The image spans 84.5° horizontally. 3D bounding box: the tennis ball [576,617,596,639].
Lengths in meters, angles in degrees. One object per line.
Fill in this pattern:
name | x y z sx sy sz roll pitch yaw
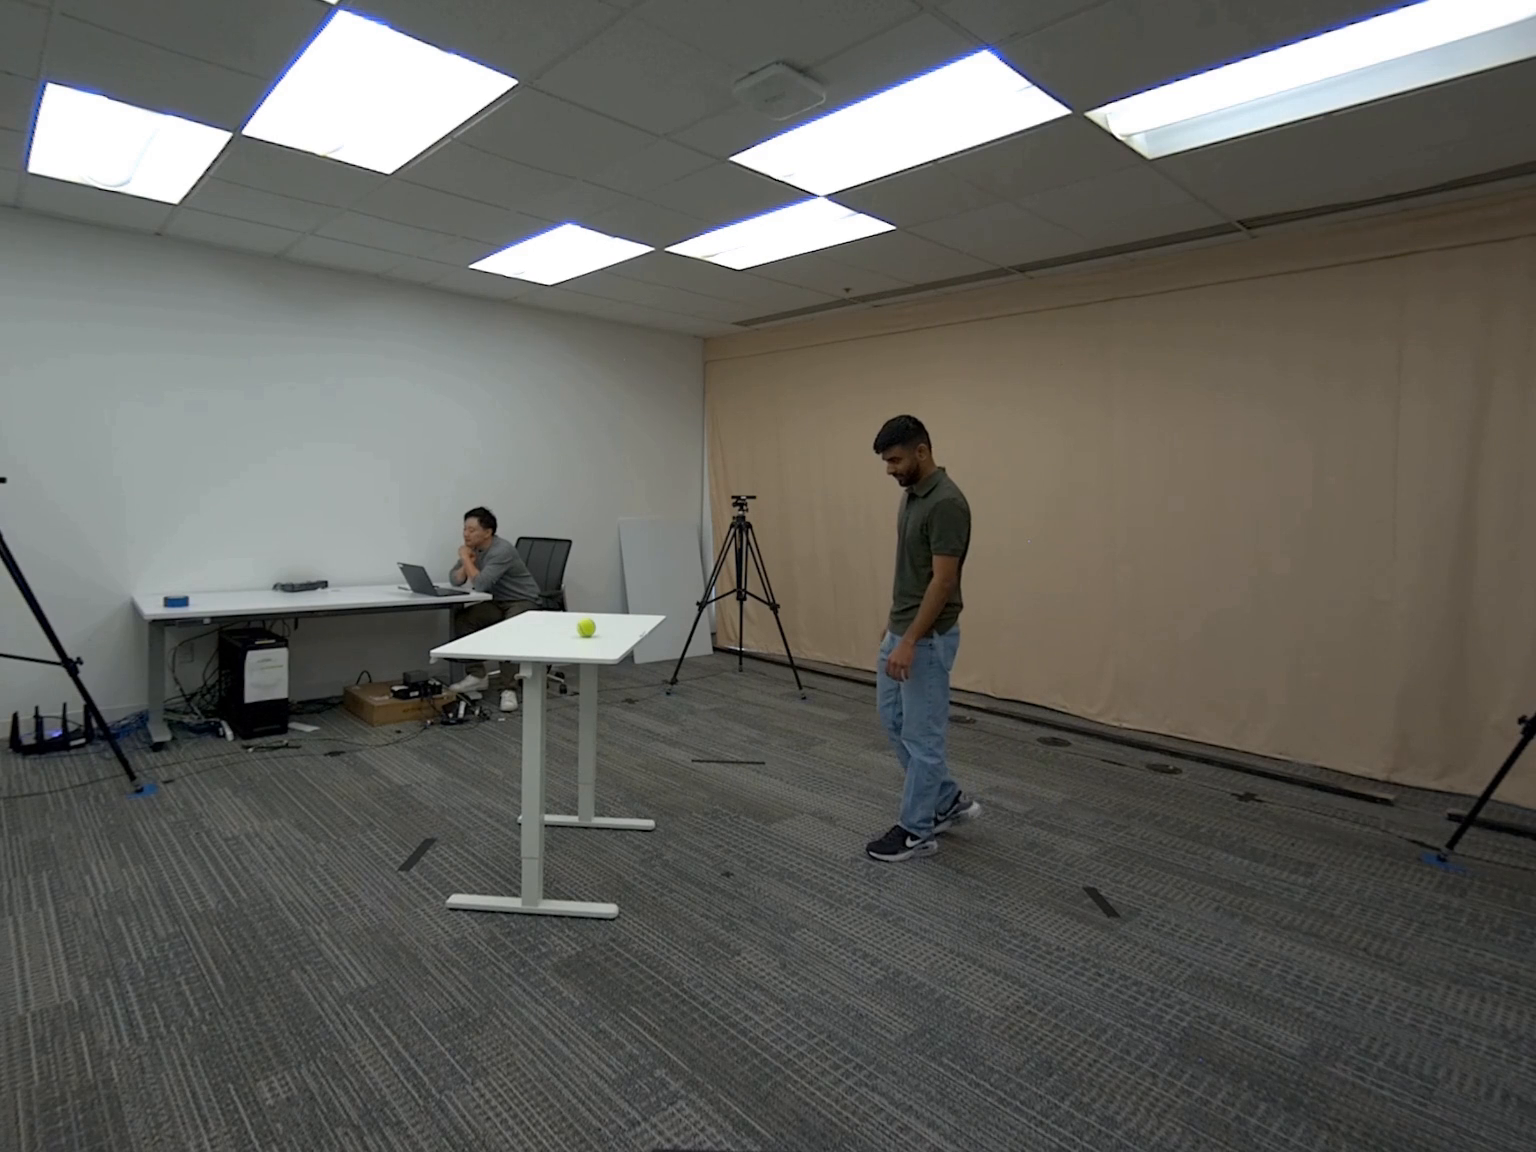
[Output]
tennis ball | -0.653 0.182 3.000 0.066 0.066 0.067 1 4 -1
